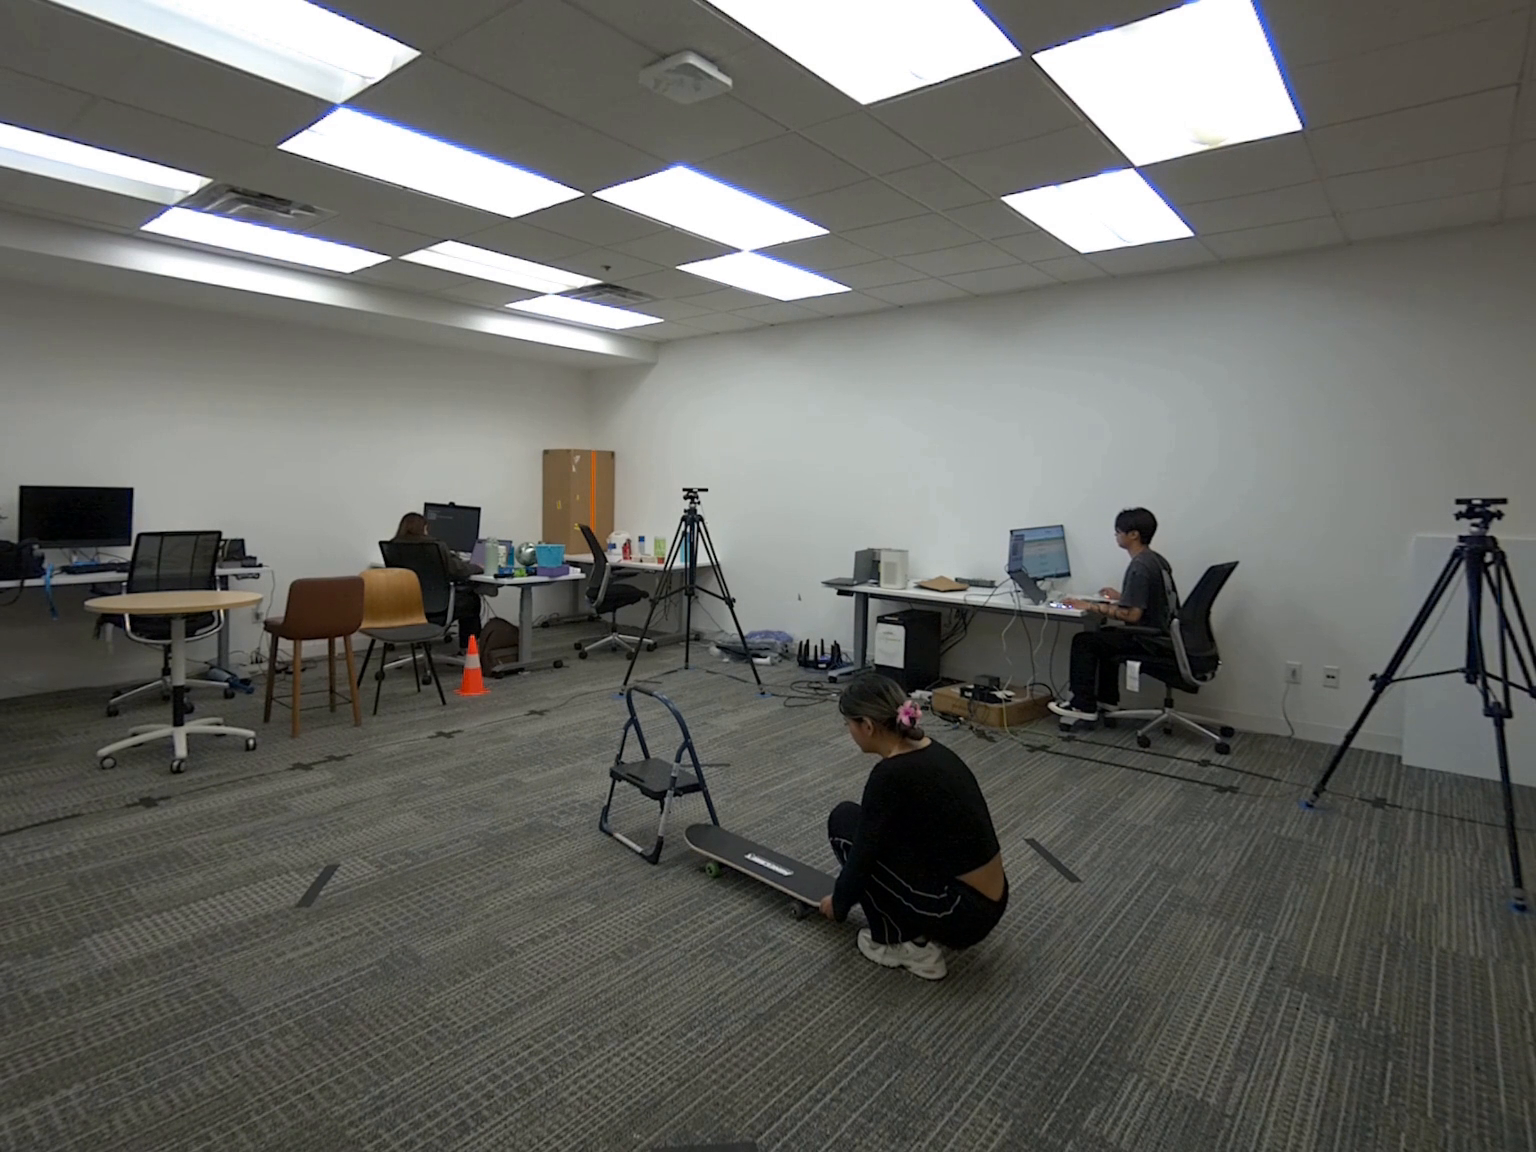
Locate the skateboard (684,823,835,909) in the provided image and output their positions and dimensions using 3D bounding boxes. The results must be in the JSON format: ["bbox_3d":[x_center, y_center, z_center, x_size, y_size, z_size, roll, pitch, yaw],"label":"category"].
[{"bbox_3d":[-0.013,1.032,2.961,0.188,0.110,0.813,-4,8,-45],"label":"skateboard"}]
